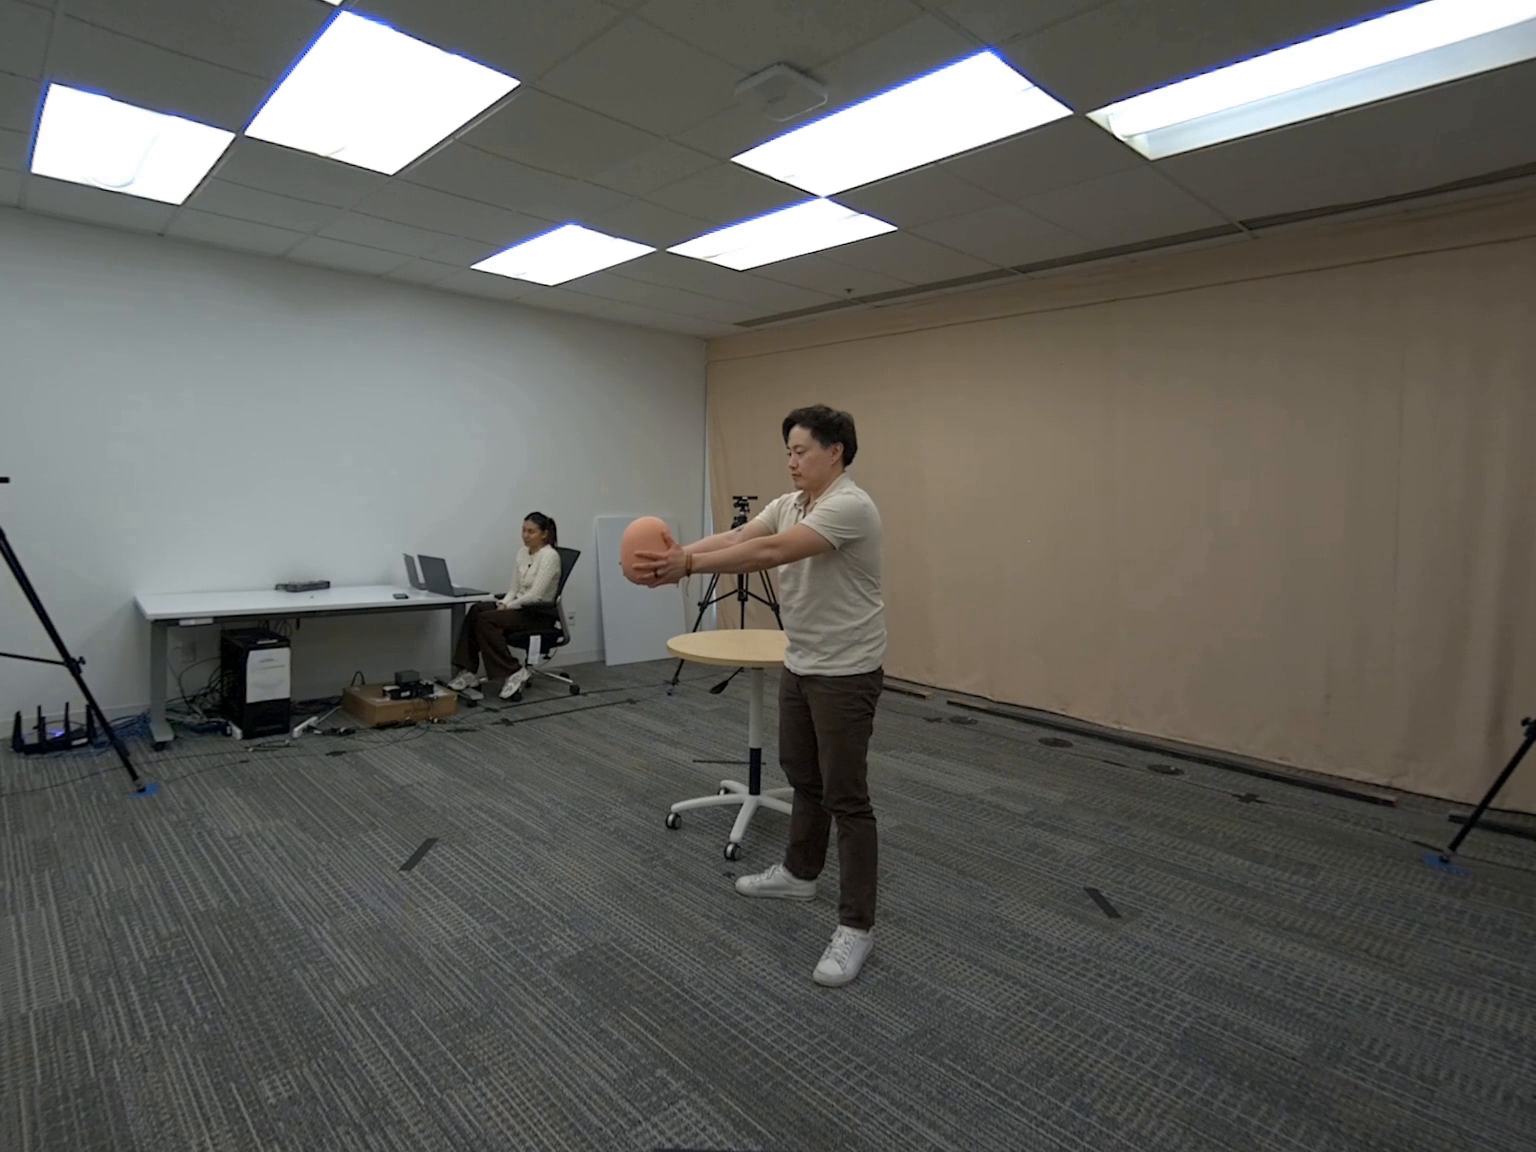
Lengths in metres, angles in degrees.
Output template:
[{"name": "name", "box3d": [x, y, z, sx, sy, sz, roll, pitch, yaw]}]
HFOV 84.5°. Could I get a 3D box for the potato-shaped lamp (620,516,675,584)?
[{"name": "potato-shaped lamp", "box3d": [-0.340, -0.073, 2.443, 0.169, 0.198, 0.167, -6, 2, -21]}]
